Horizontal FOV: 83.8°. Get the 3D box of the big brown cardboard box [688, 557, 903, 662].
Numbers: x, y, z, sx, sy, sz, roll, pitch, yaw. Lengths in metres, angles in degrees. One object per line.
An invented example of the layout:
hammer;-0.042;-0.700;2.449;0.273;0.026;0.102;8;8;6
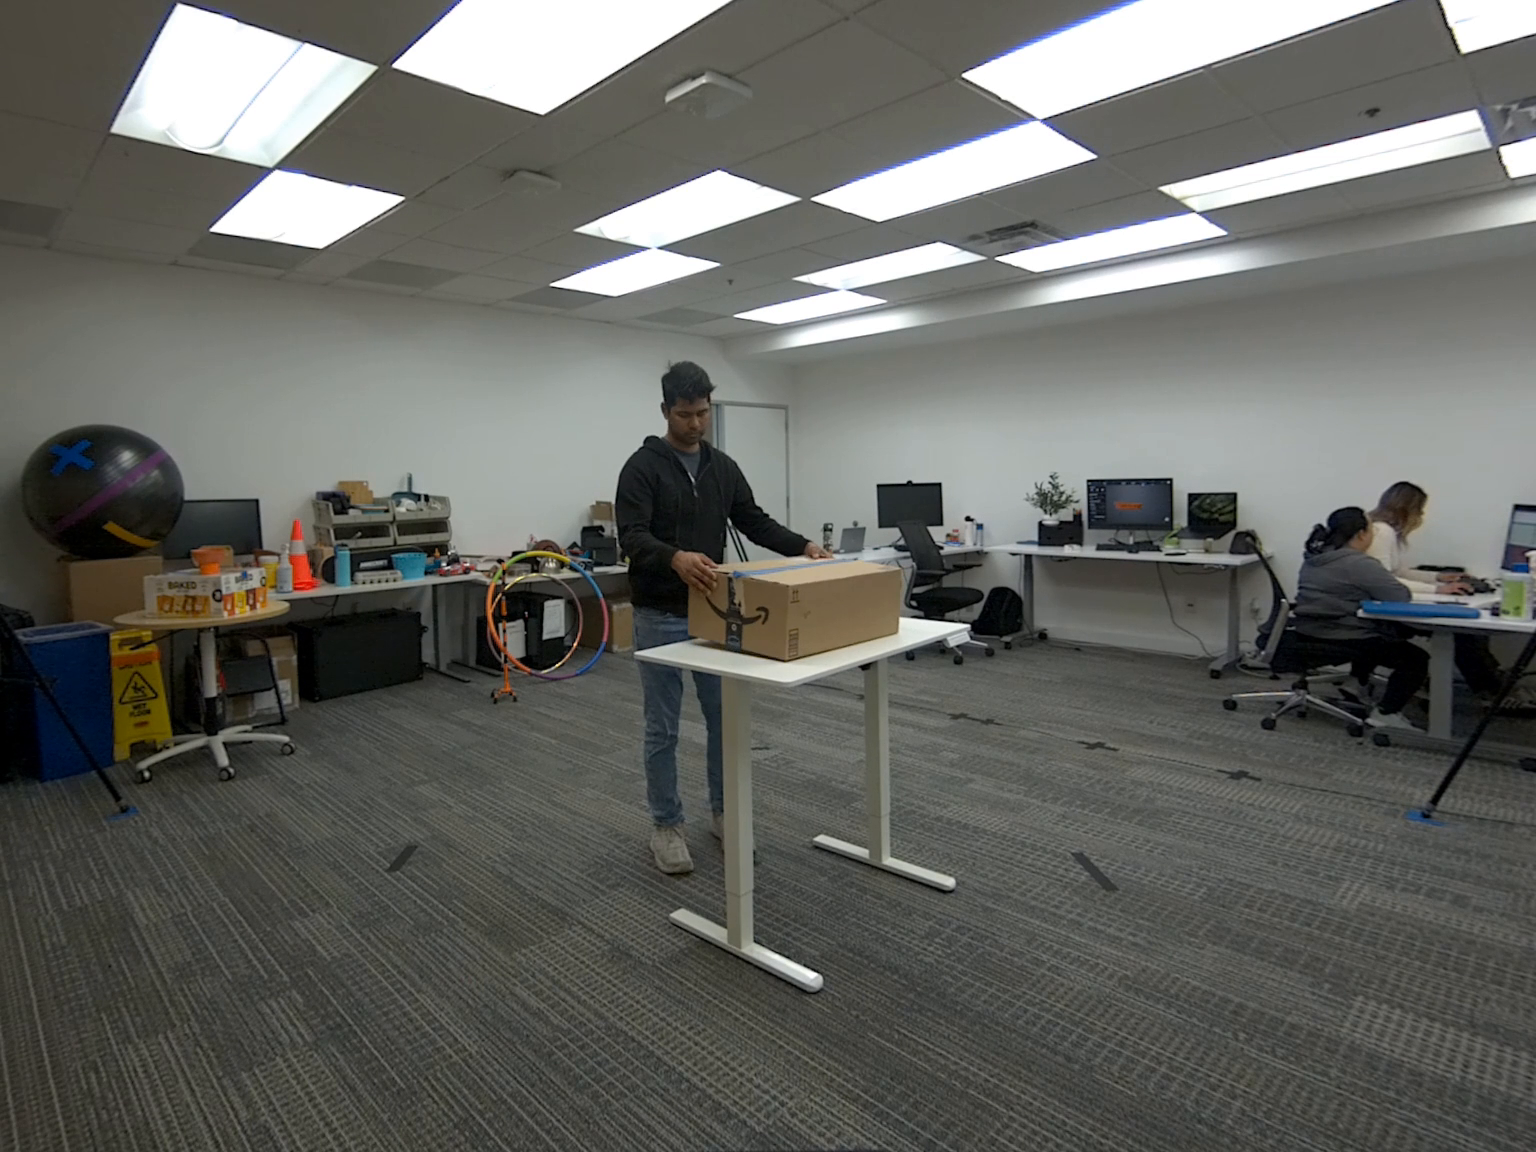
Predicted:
big brown cardboard box;0.079;0.074;2.734;0.431;0.232;0.574;8;11;44
